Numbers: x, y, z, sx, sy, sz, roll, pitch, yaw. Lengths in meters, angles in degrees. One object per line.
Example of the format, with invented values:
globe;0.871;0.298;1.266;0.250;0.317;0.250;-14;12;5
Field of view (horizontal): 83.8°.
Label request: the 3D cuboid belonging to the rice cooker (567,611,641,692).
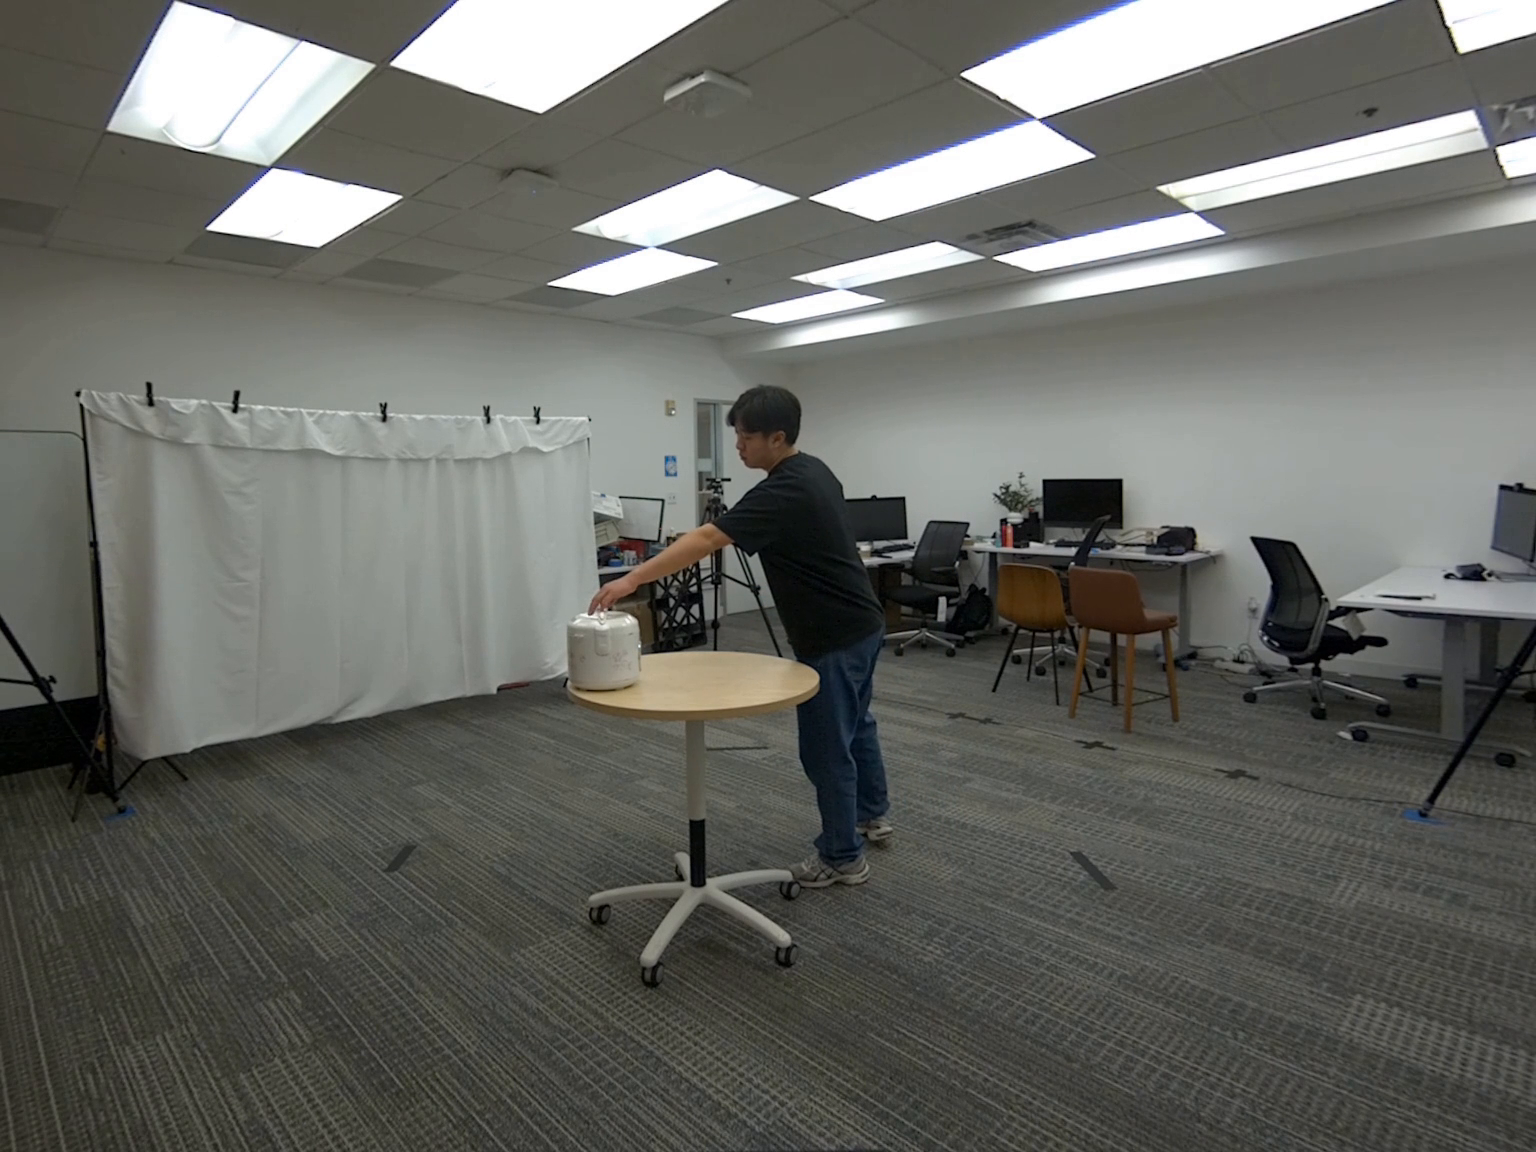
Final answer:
rice cooker;-0.486;0.208;2.526;0.216;0.231;0.223;-3;6;-8
